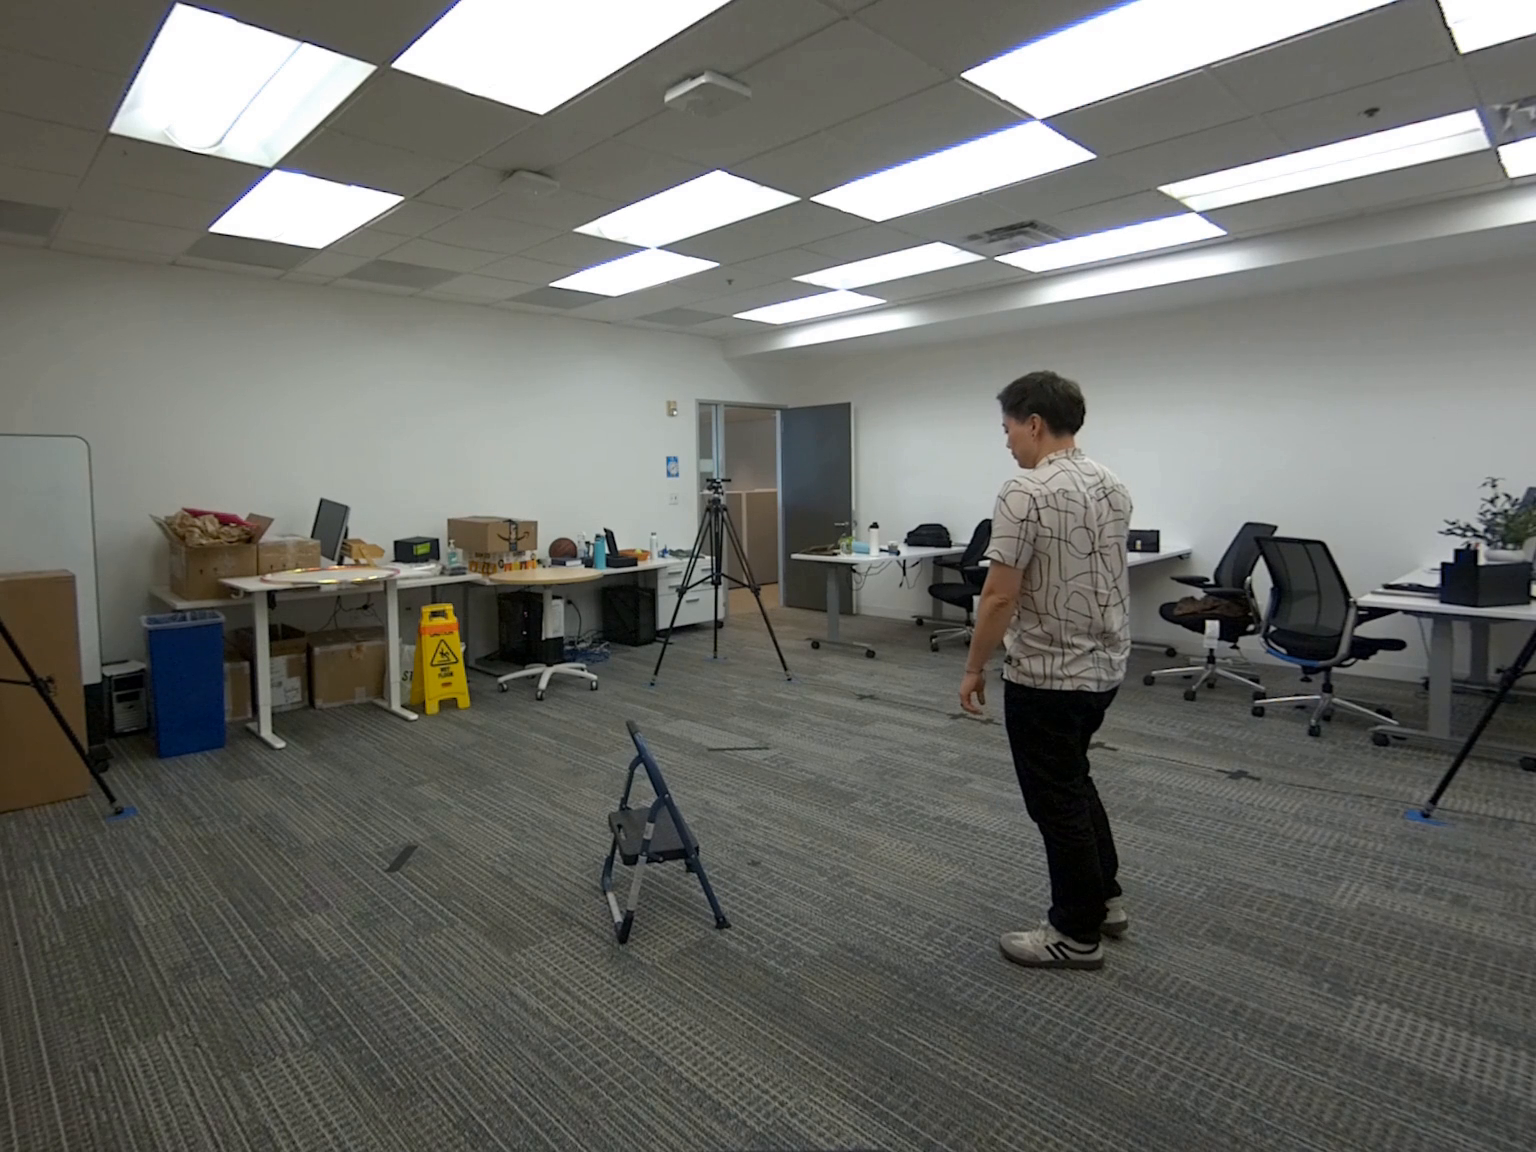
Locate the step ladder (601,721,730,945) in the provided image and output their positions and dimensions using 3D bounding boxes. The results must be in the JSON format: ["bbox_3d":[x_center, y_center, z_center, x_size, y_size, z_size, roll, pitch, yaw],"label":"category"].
[{"bbox_3d":[-0.357,0.782,2.802,0.344,0.604,0.439,-3,5,-18],"label":"step ladder"}]
